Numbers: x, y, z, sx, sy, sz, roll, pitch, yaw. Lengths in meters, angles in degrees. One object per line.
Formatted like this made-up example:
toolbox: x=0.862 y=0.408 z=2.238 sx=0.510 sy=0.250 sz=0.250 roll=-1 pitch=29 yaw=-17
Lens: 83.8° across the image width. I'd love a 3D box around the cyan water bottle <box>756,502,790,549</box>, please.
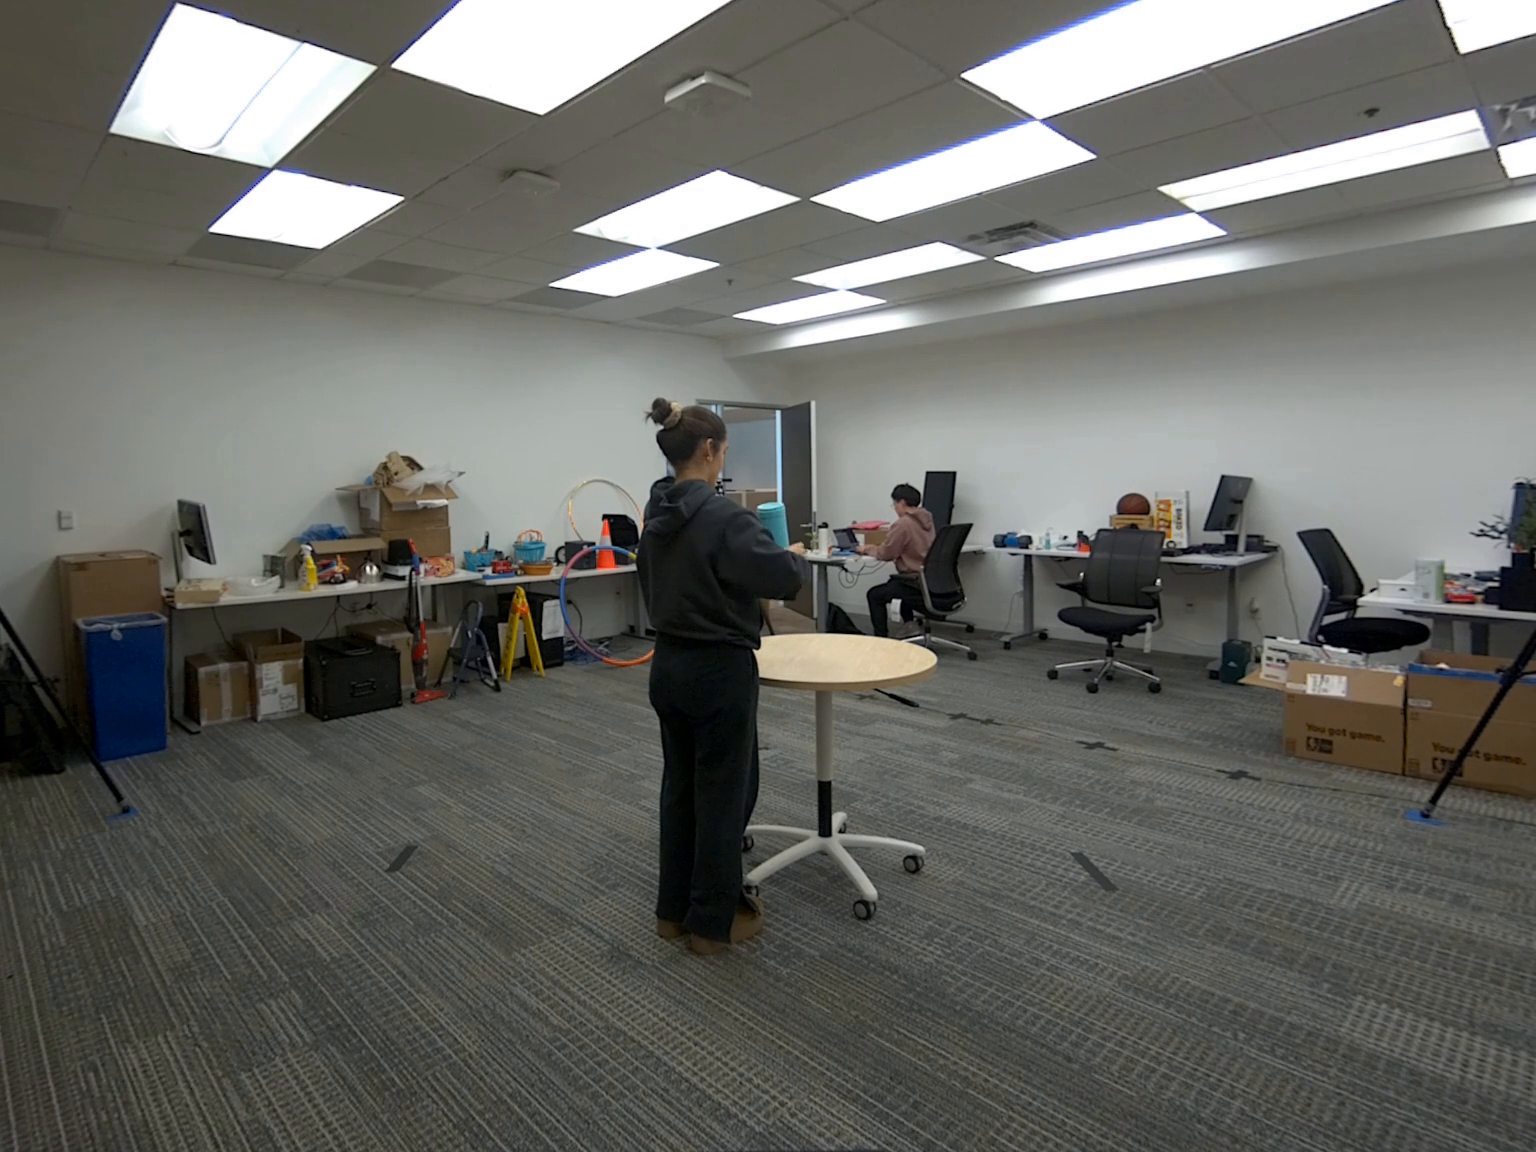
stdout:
cyan water bottle: x=0.026 y=-0.088 z=2.766 sx=0.092 sy=0.280 sz=0.093 roll=-8 pitch=13 yaw=0
